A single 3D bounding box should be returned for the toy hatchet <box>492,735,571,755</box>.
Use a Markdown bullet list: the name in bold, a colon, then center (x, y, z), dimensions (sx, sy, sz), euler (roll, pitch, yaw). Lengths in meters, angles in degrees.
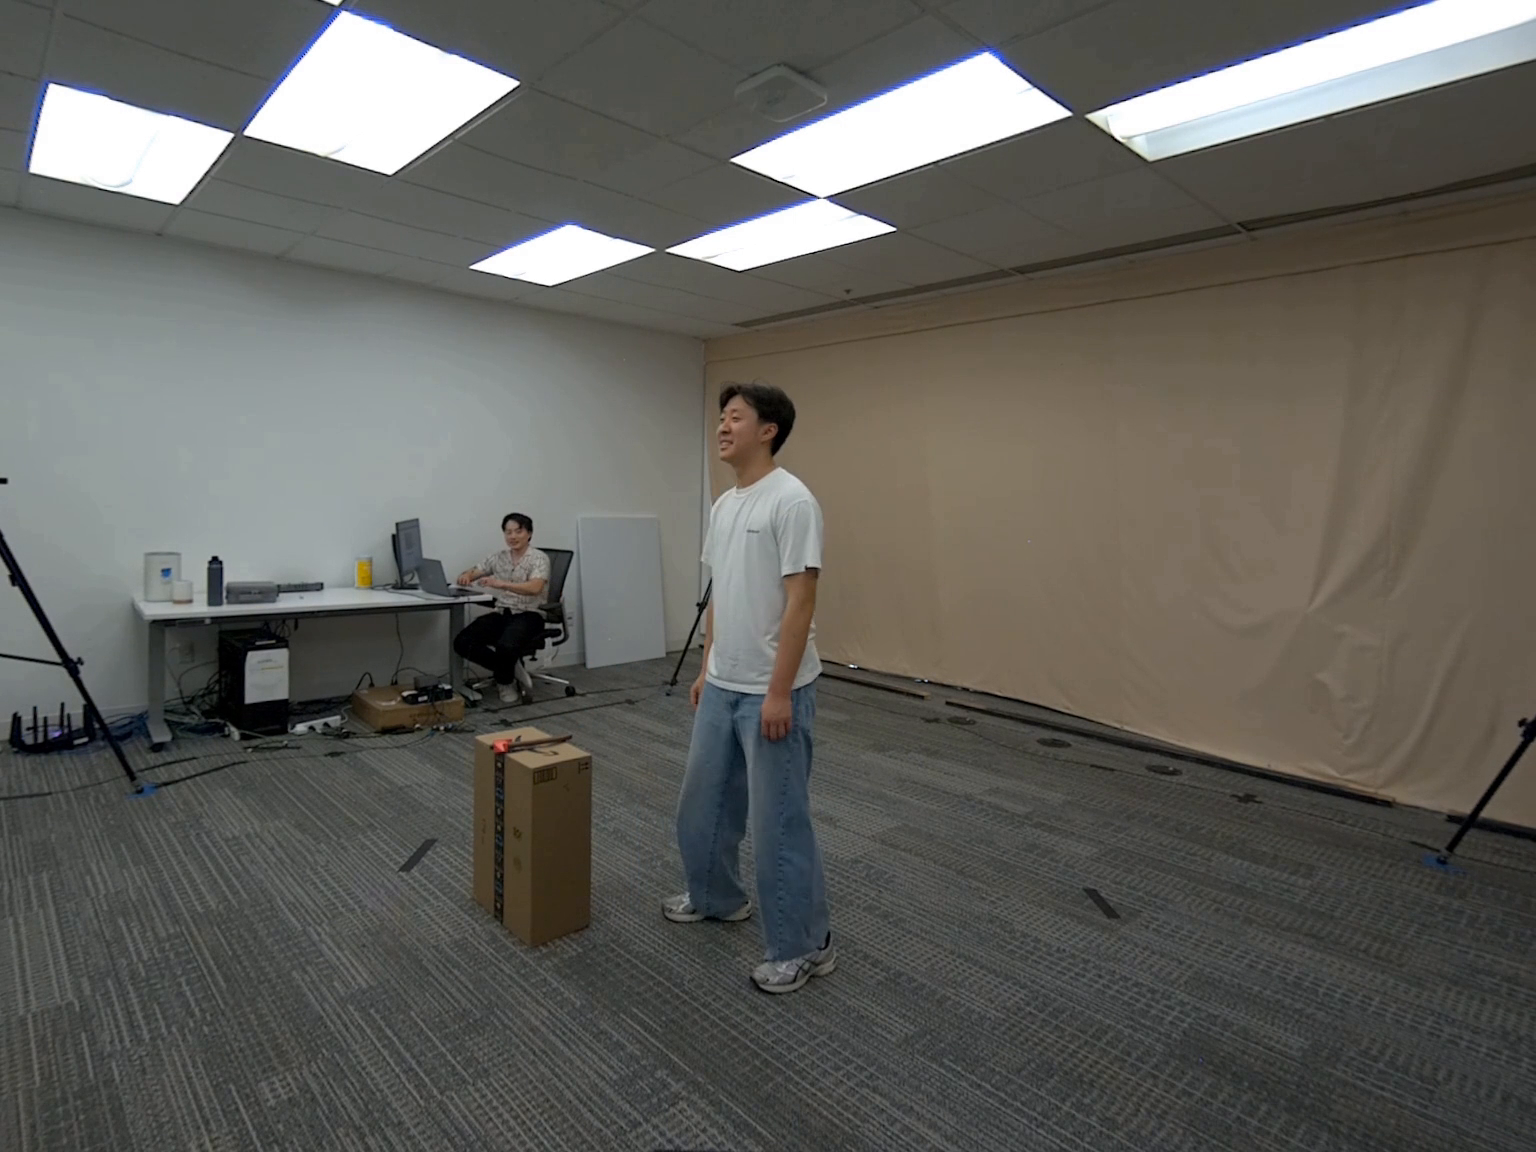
- **toy hatchet**: center (-0.790, 0.541, 2.780), dimensions (0.134, 0.029, 0.264), euler (0, 2, 45)
